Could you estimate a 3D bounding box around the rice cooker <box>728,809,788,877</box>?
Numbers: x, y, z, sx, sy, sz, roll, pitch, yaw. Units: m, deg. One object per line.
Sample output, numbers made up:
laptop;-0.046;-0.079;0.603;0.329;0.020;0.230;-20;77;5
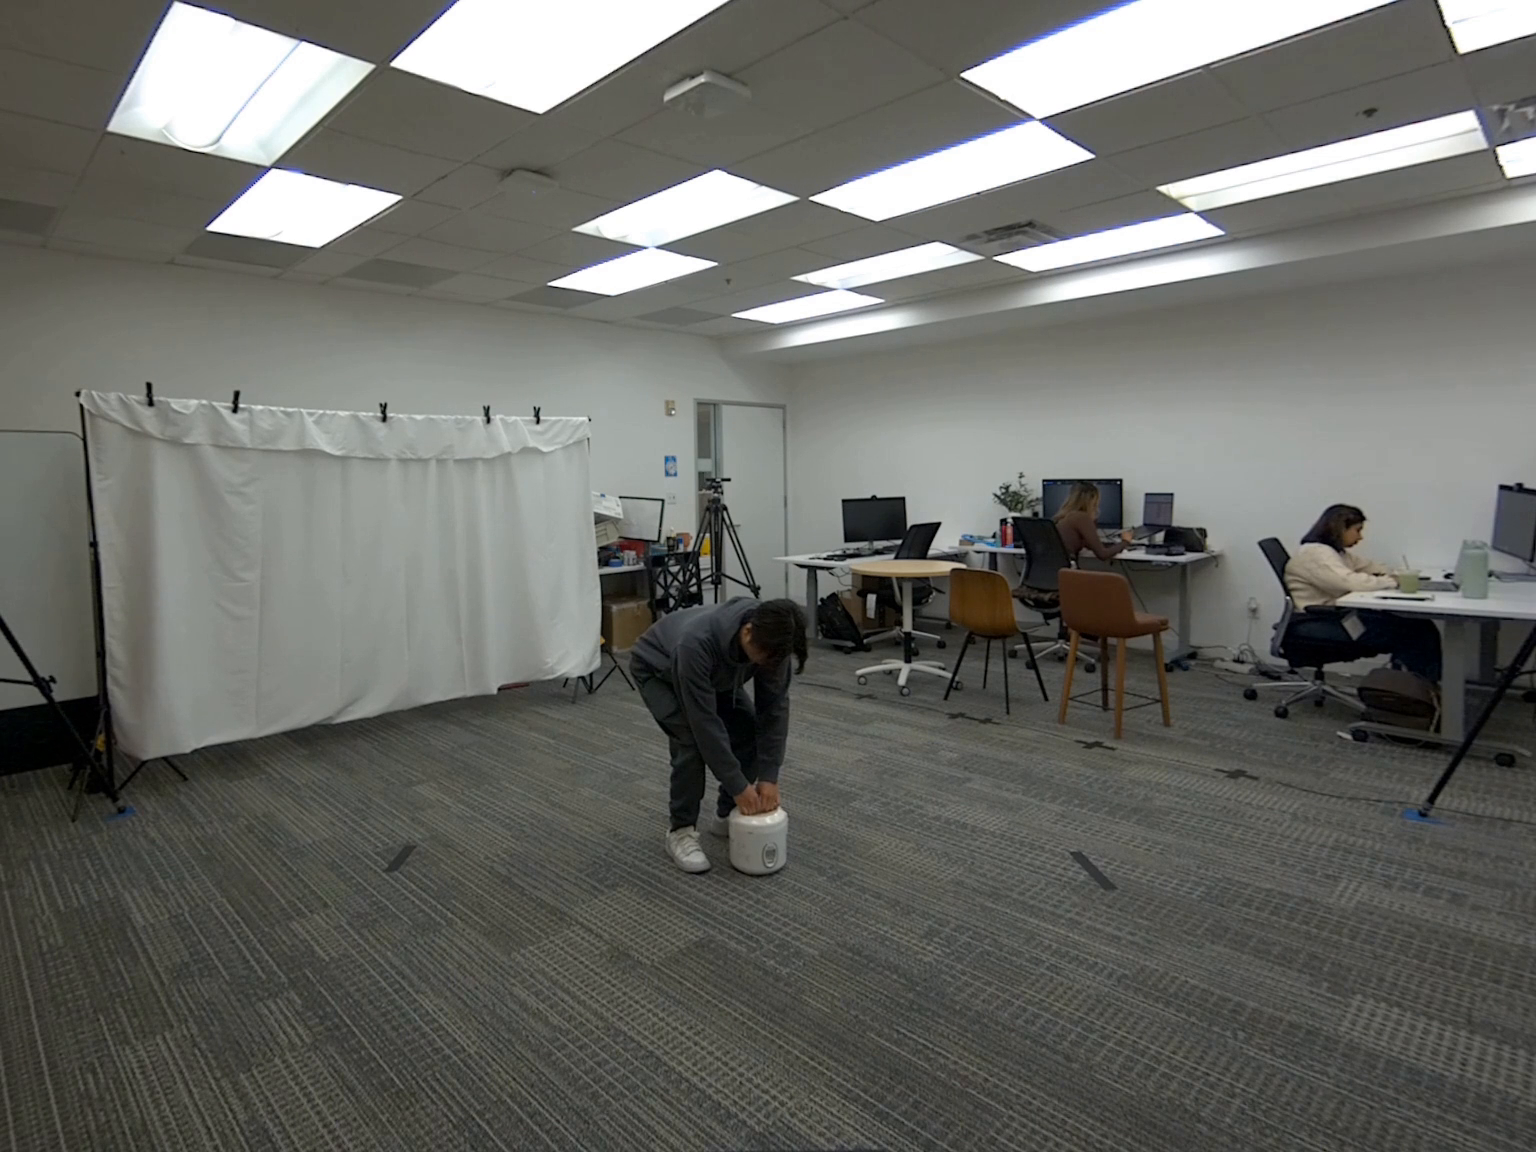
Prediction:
rice cooker;-0.031;0.928;3.078;0.216;0.232;0.222;-3;4;-22
